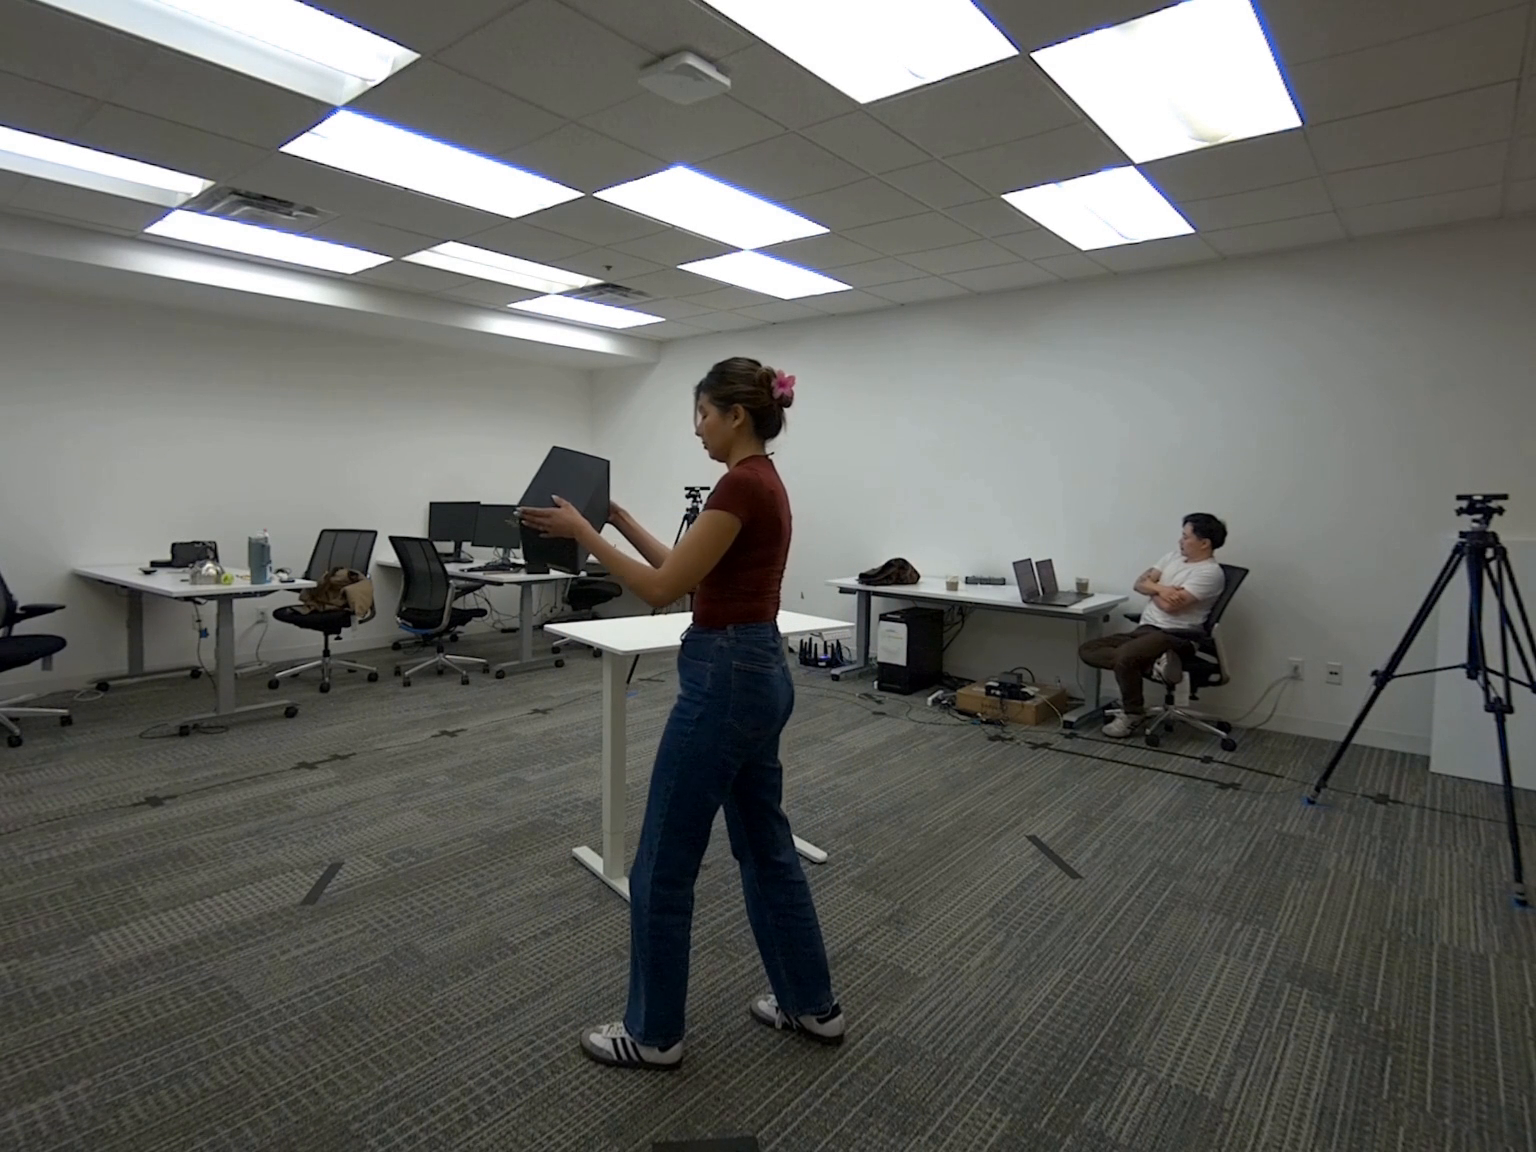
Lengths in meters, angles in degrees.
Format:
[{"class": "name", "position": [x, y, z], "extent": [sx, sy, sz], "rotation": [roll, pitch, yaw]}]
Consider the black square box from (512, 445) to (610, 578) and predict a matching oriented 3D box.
[{"class": "black square box", "position": [-0.528, -0.169, 2.180], "extent": [0.157, 0.232, 0.211], "rotation": [14, -38, 6]}]
